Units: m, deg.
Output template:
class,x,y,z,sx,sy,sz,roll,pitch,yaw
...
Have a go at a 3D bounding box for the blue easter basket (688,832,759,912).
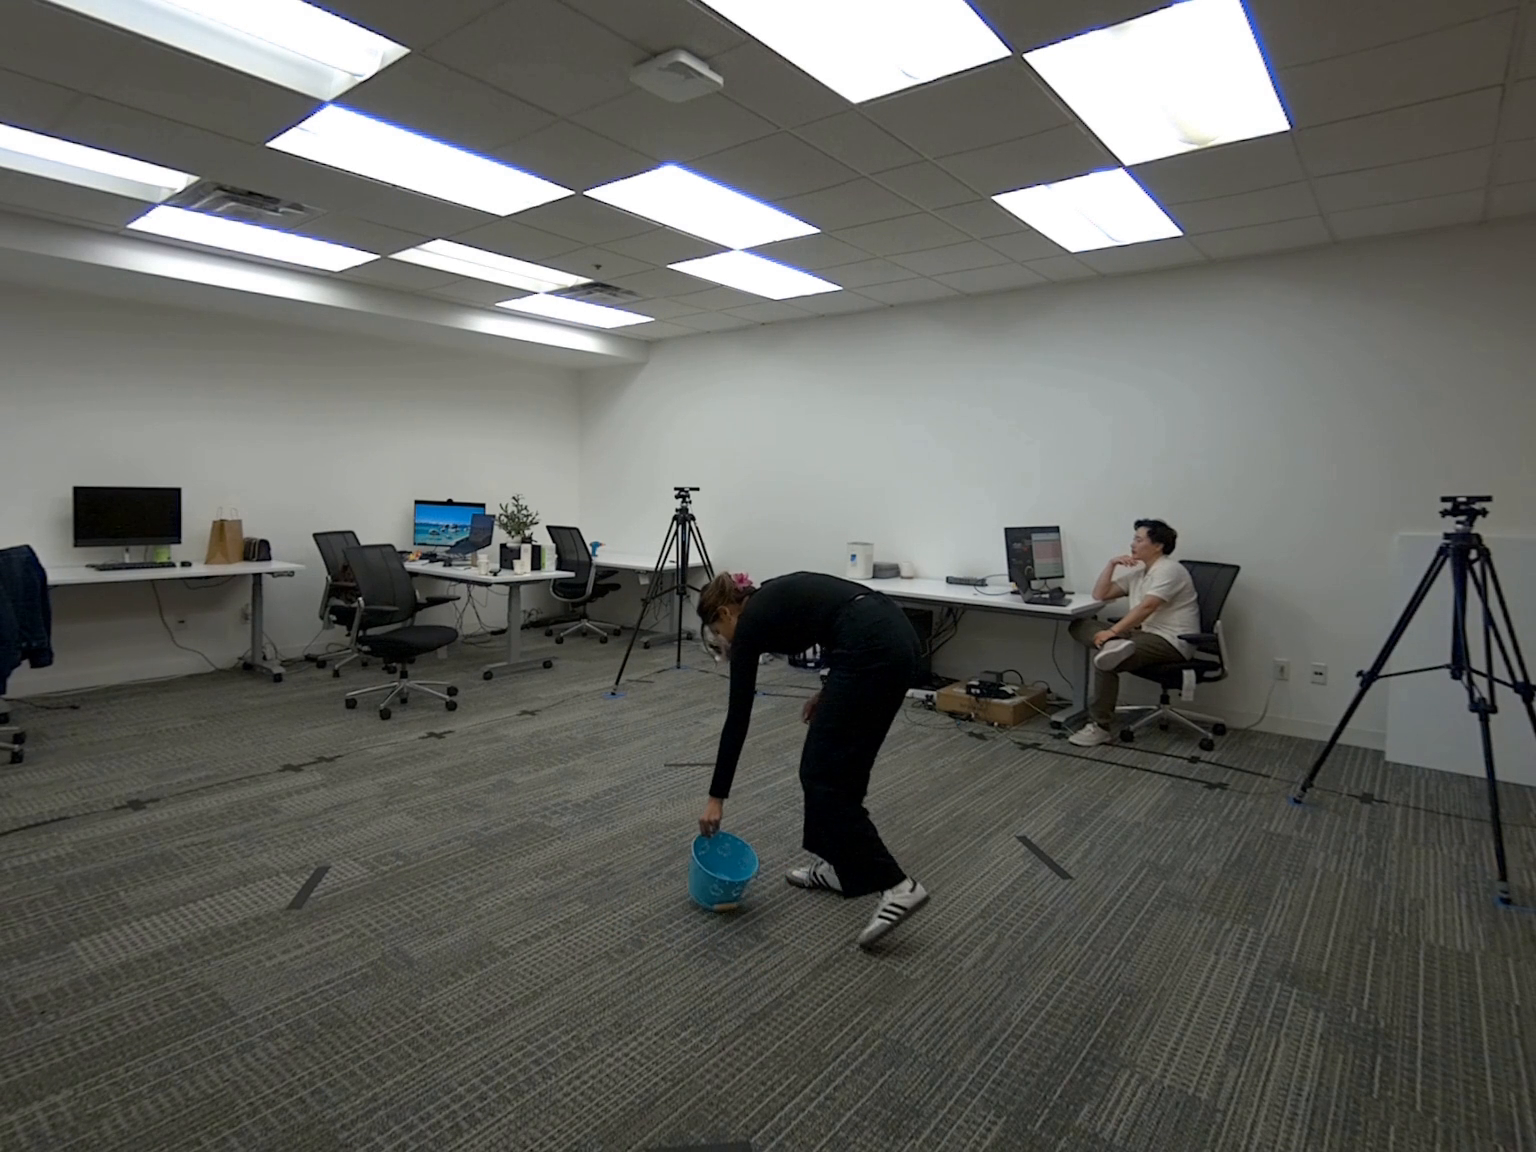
class,x,y,z,sx,sy,sz,roll,pitch,yaw
blue easter basket,-0.171,0.996,2.819,0.242,0.154,0.248,13,20,-6
